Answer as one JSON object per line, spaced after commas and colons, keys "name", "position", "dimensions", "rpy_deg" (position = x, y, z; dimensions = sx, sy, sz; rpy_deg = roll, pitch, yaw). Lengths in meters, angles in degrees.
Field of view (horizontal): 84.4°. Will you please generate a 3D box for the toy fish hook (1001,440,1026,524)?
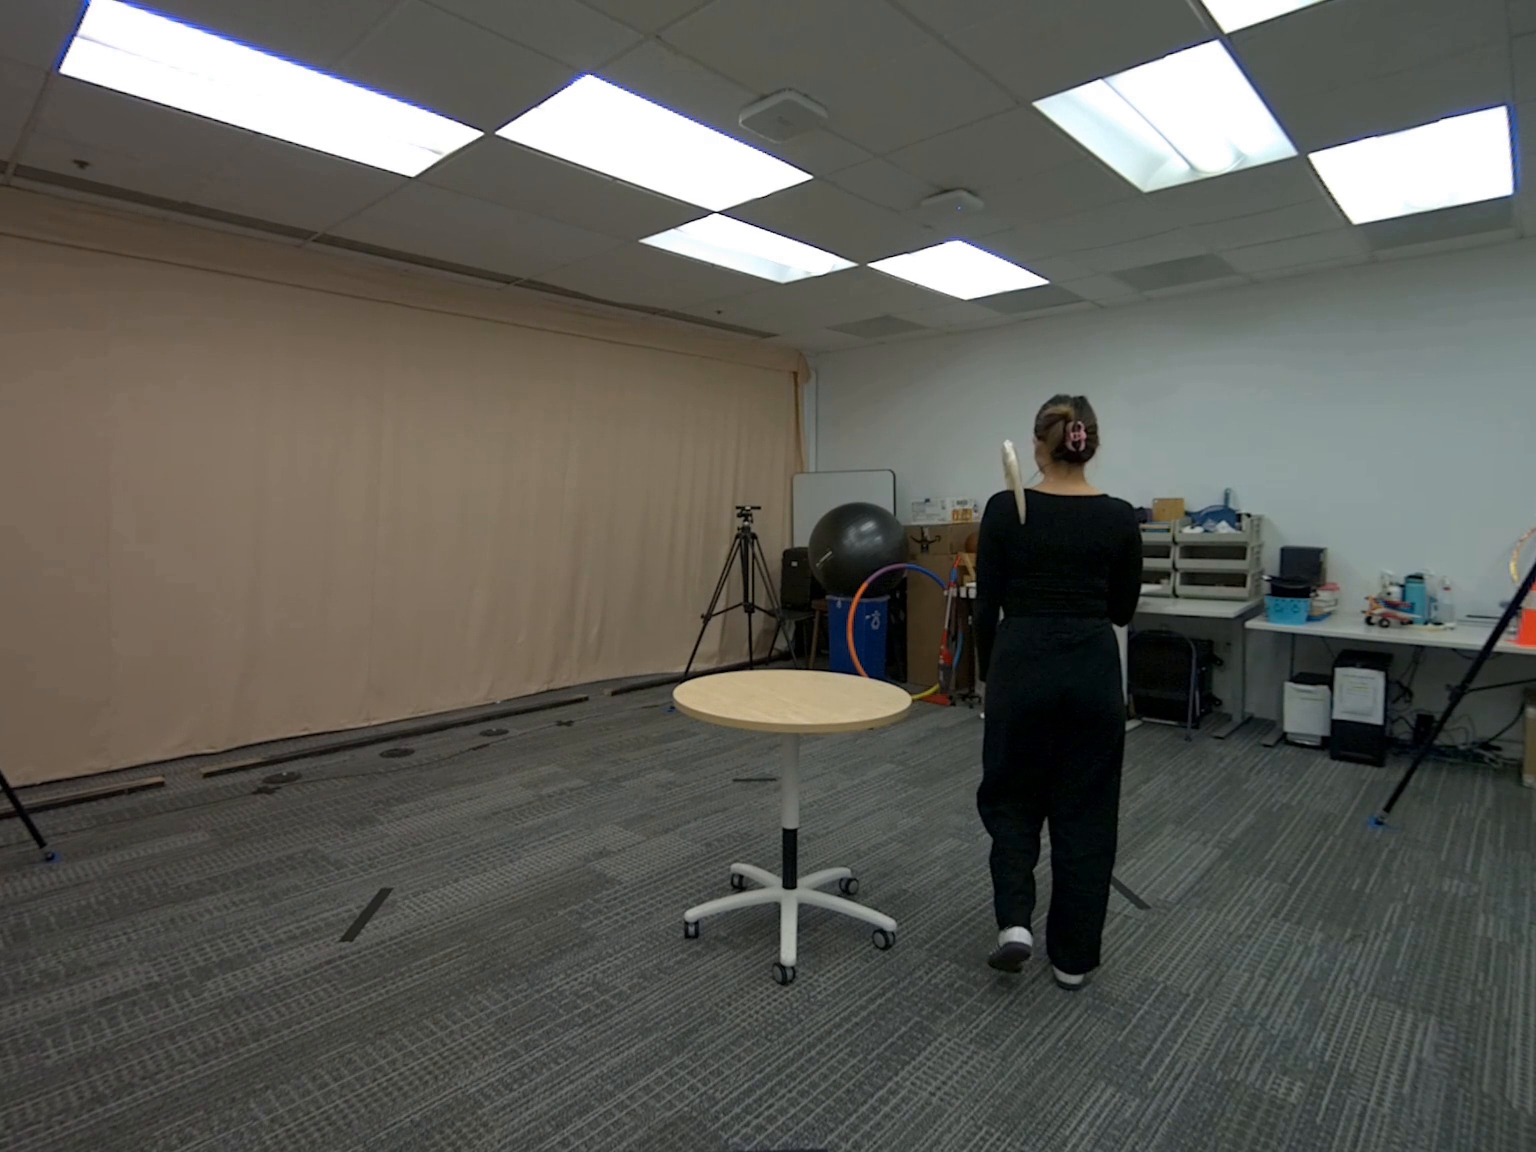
{"name": "toy fish hook", "position": [0.756, -0.164, 2.476], "dimensions": [0.049, 0.493, 0.226], "rpy_deg": [-7, 38, 19]}
